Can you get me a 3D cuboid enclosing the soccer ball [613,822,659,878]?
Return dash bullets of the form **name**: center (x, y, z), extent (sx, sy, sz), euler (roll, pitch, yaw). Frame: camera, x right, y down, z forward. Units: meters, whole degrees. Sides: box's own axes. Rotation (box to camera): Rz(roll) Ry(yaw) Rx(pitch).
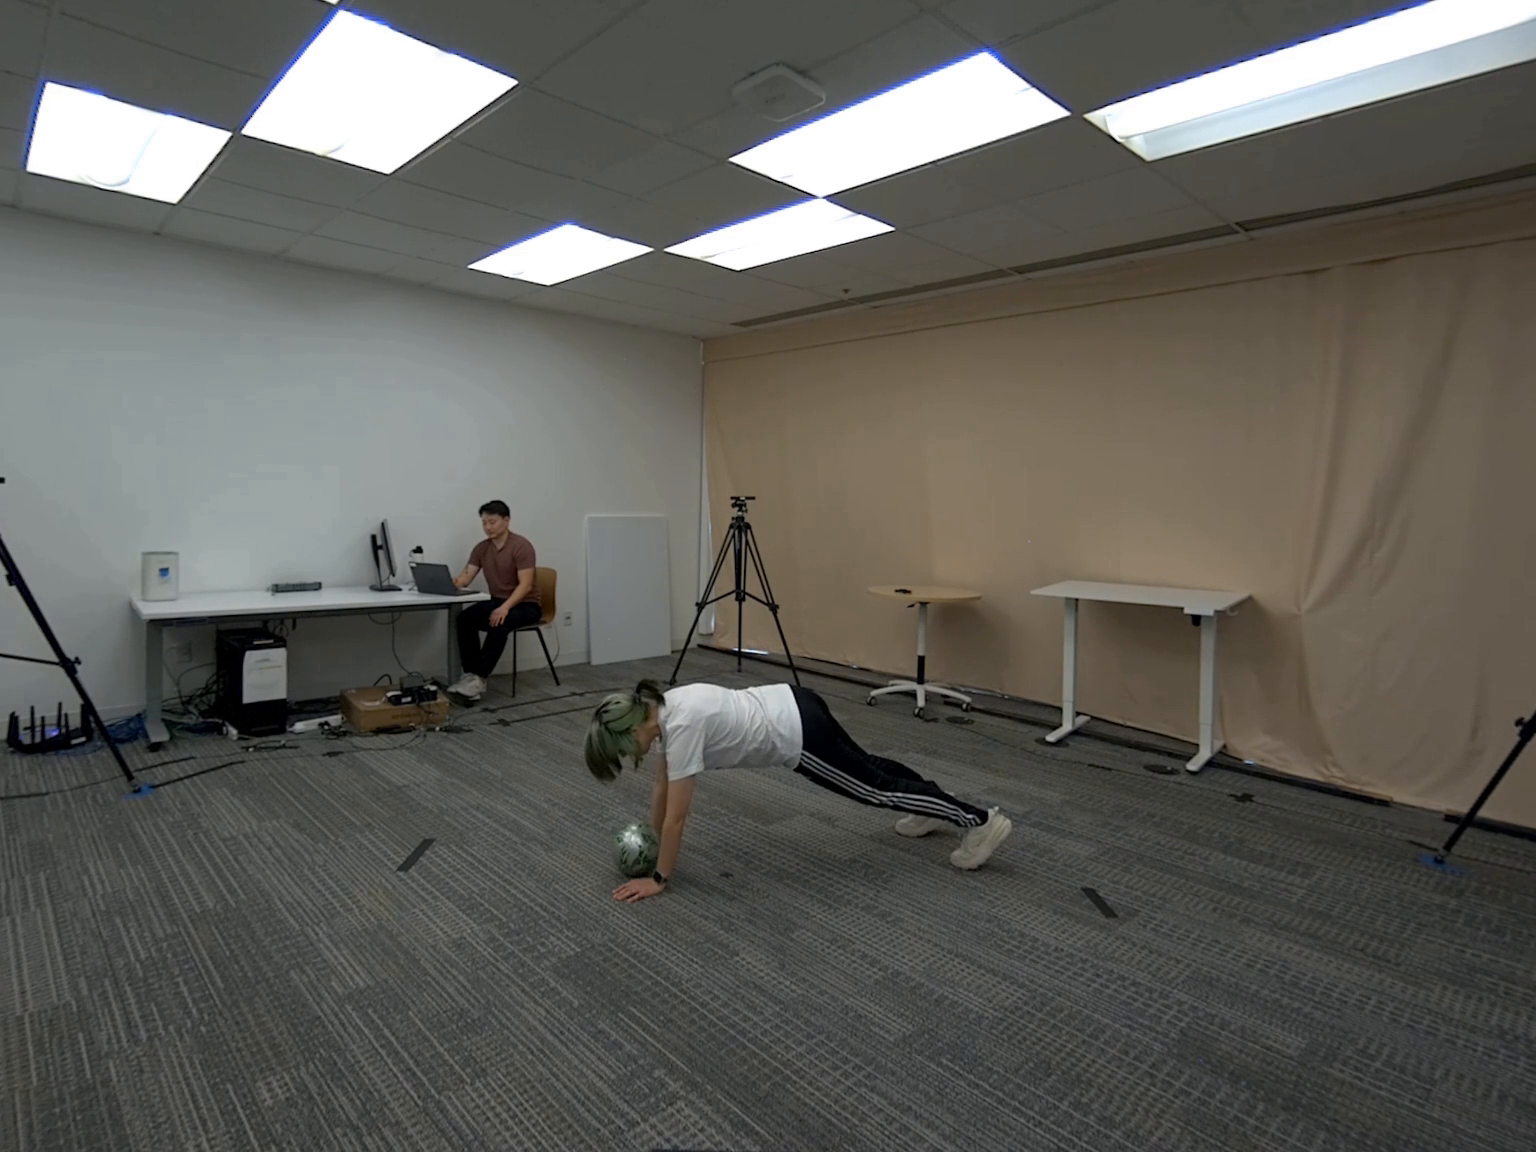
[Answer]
- **soccer ball**: center (-0.491, 1.008, 3.098), extent (0.187, 0.187, 0.188), euler (1, 4, -1)
